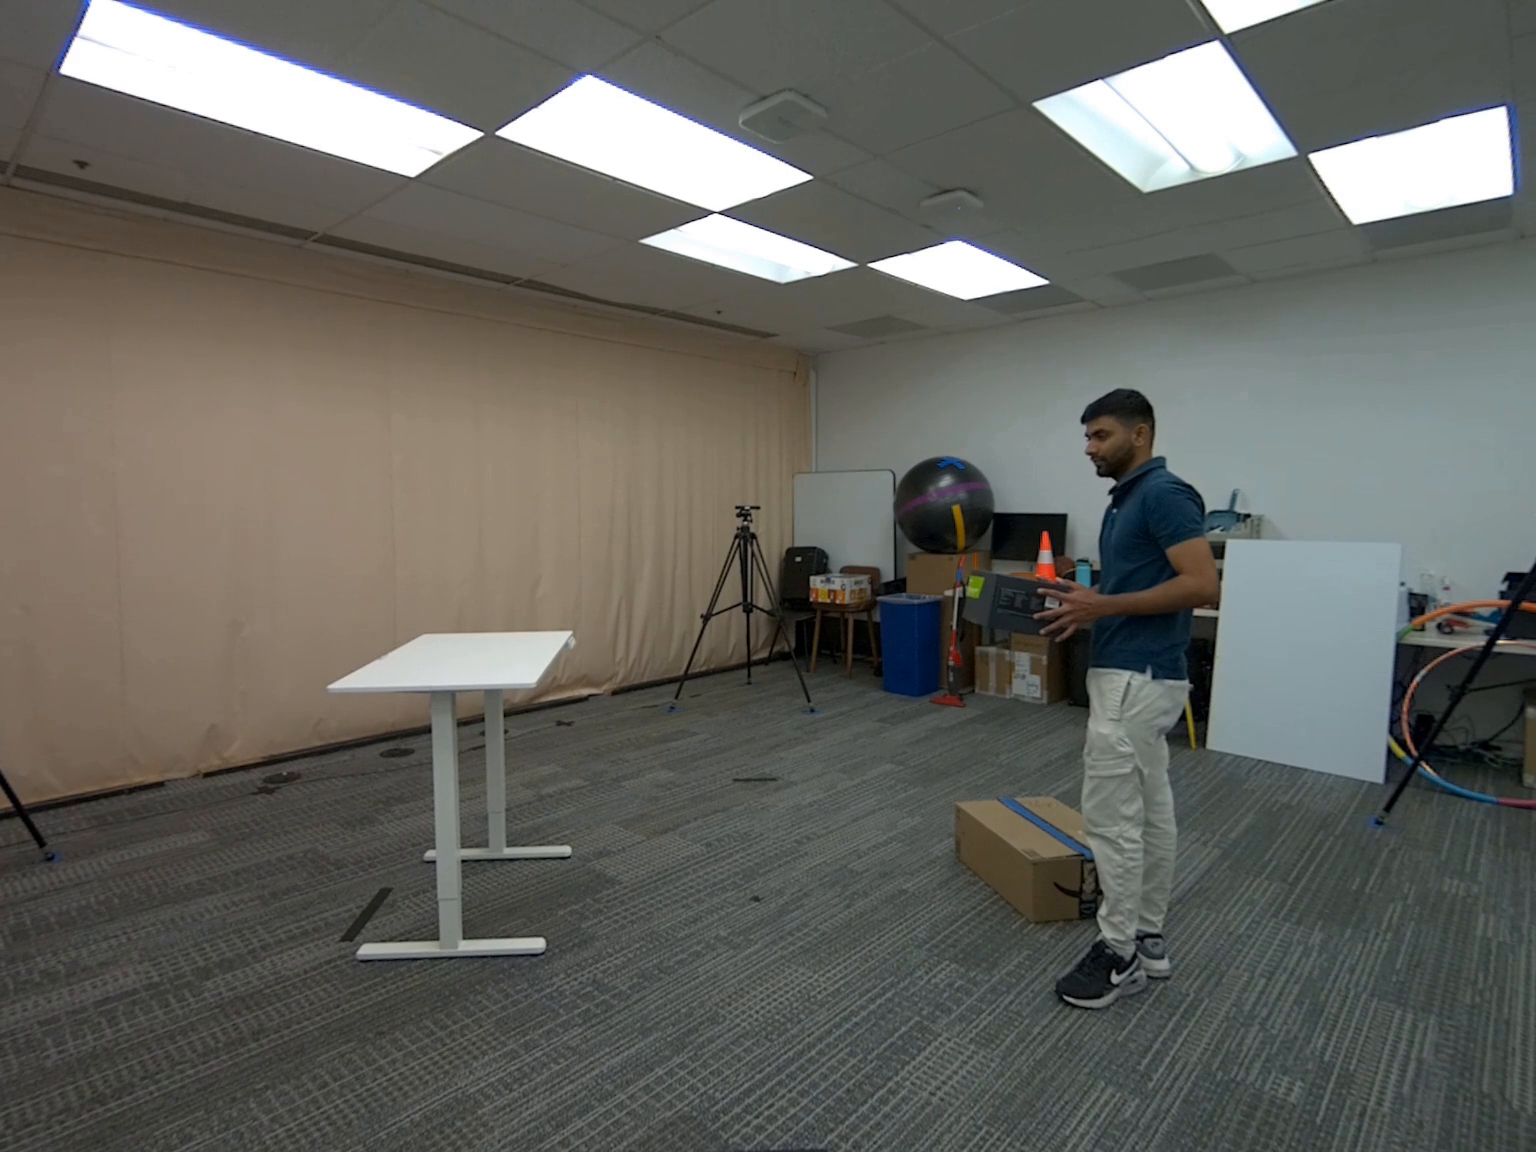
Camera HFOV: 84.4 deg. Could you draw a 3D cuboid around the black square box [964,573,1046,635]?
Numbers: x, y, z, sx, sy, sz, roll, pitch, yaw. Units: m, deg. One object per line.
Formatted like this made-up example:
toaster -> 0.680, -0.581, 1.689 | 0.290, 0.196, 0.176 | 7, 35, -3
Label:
black square box -> 0.746, 0.082, 2.508 | 0.217, 0.156, 0.229 | 7, 3, -2
